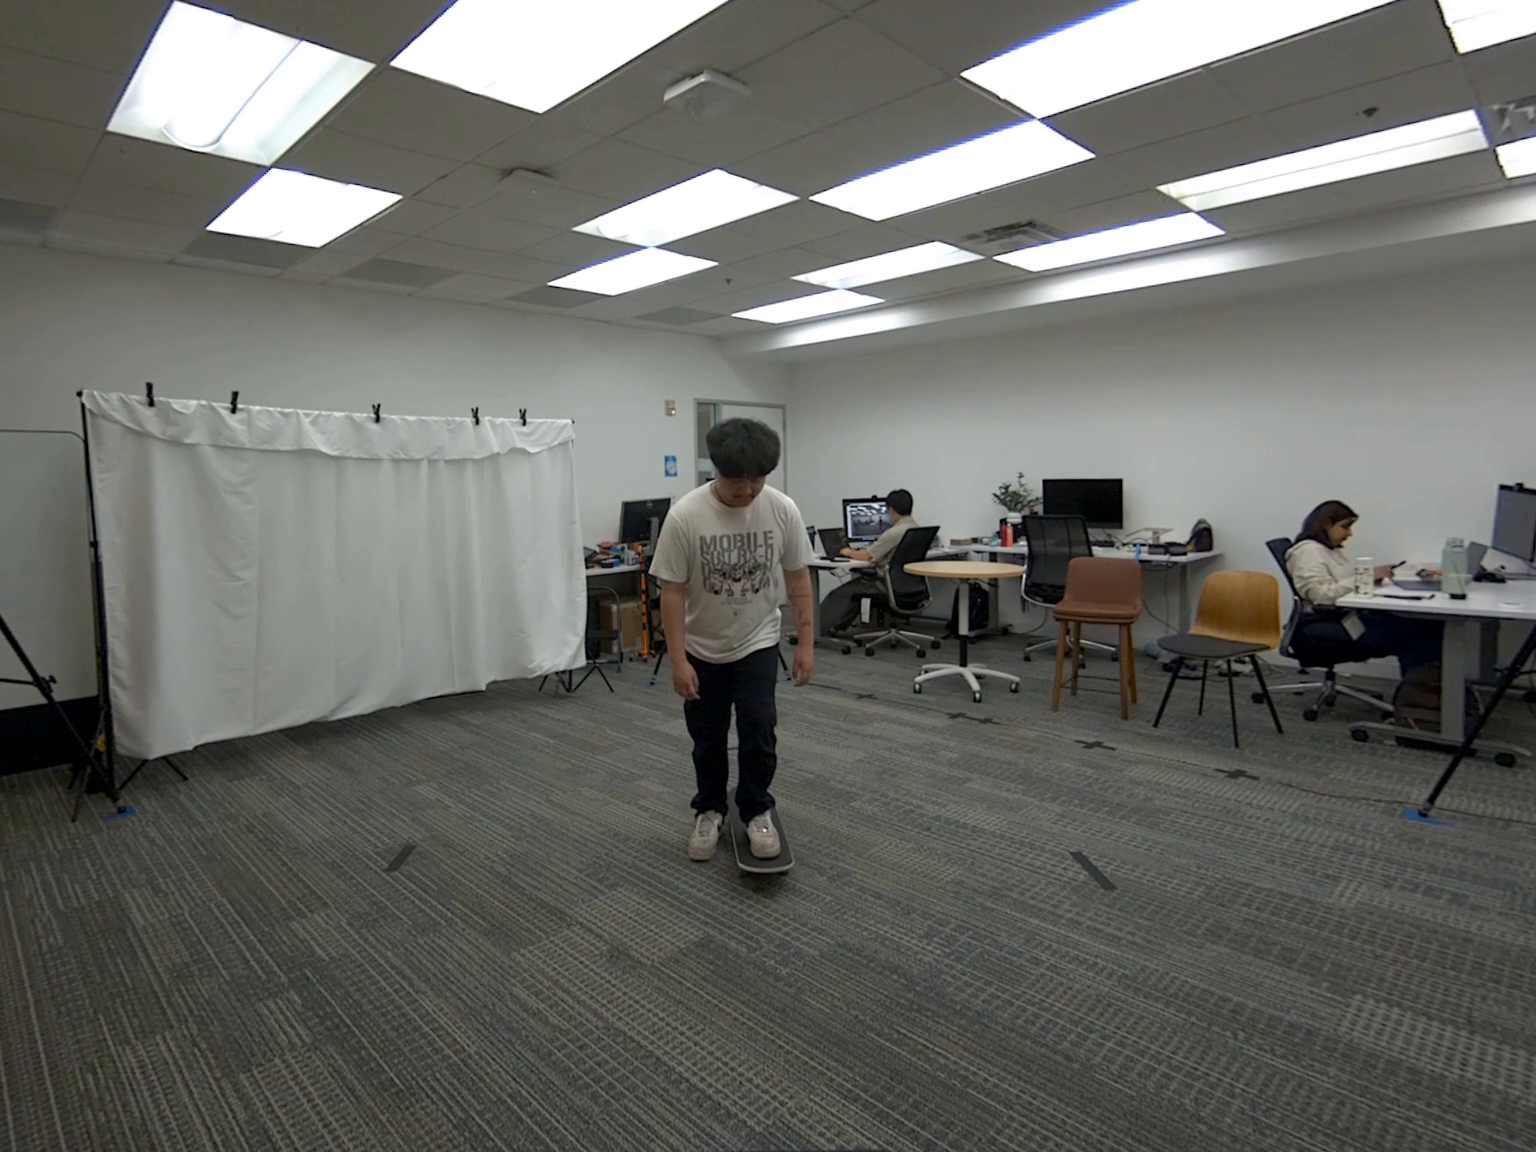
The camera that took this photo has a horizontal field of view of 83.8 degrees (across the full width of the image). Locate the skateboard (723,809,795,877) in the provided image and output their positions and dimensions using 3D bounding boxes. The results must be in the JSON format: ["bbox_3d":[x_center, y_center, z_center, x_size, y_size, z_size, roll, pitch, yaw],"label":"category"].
[{"bbox_3d":[-0.040,0.970,3.216,0.192,0.110,0.793,-2,7,-7],"label":"skateboard"}]
